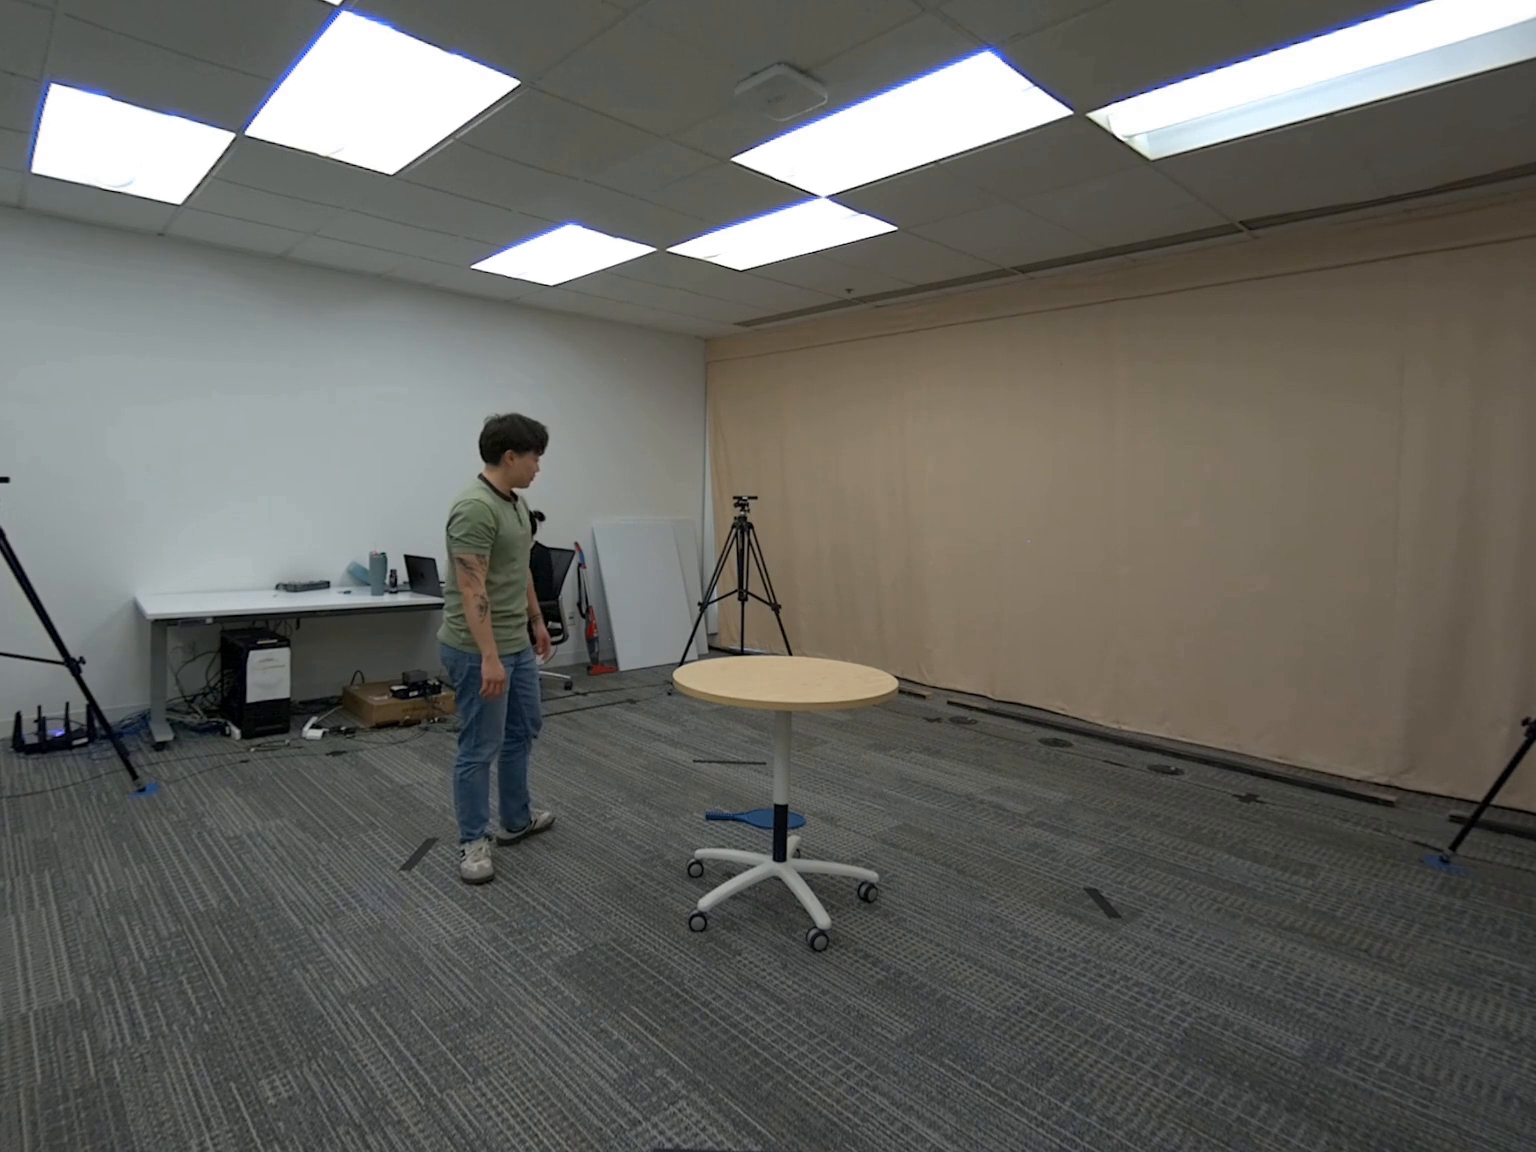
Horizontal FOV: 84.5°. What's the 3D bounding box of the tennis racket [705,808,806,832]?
[{"bbox_3d":[-0.066,1.043,3.644,0.433,0.032,0.214,3,5,0],"label":"tennis racket"}]
